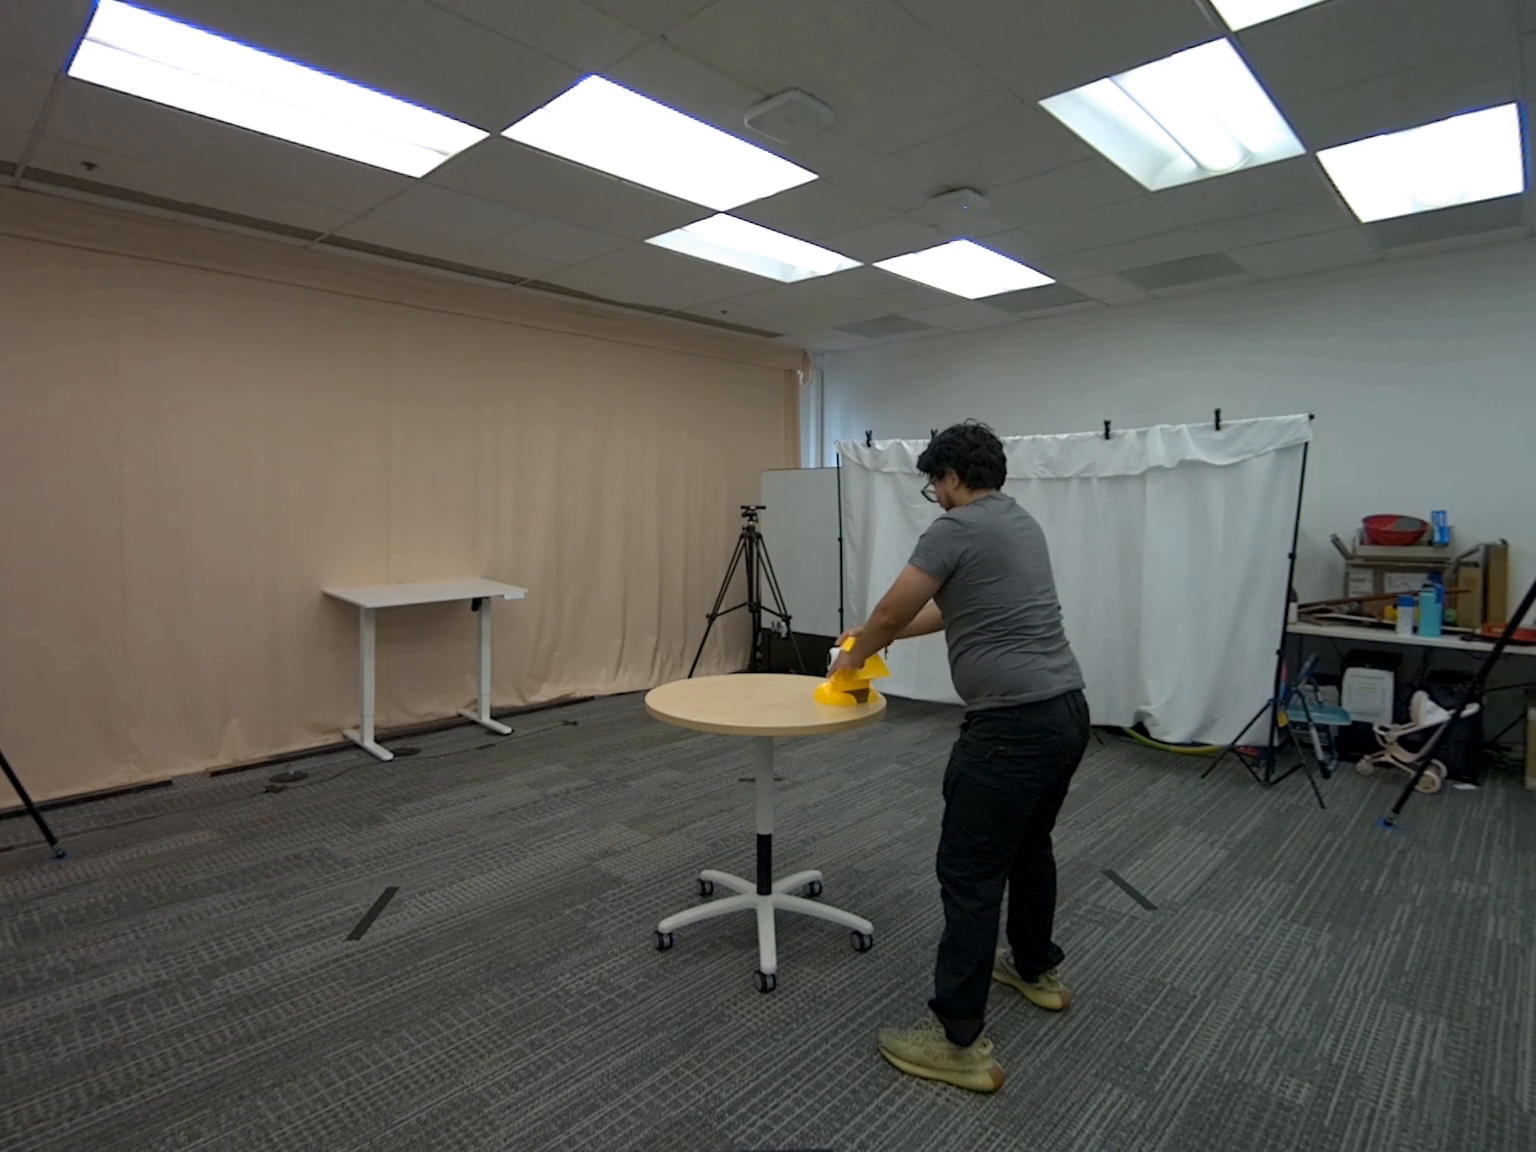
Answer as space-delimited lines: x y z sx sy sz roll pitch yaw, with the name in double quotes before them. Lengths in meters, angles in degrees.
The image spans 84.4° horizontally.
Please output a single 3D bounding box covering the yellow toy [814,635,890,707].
"yellow toy" 0.259 0.278 2.657 0.199 0.230 0.199 -1 3 -33
